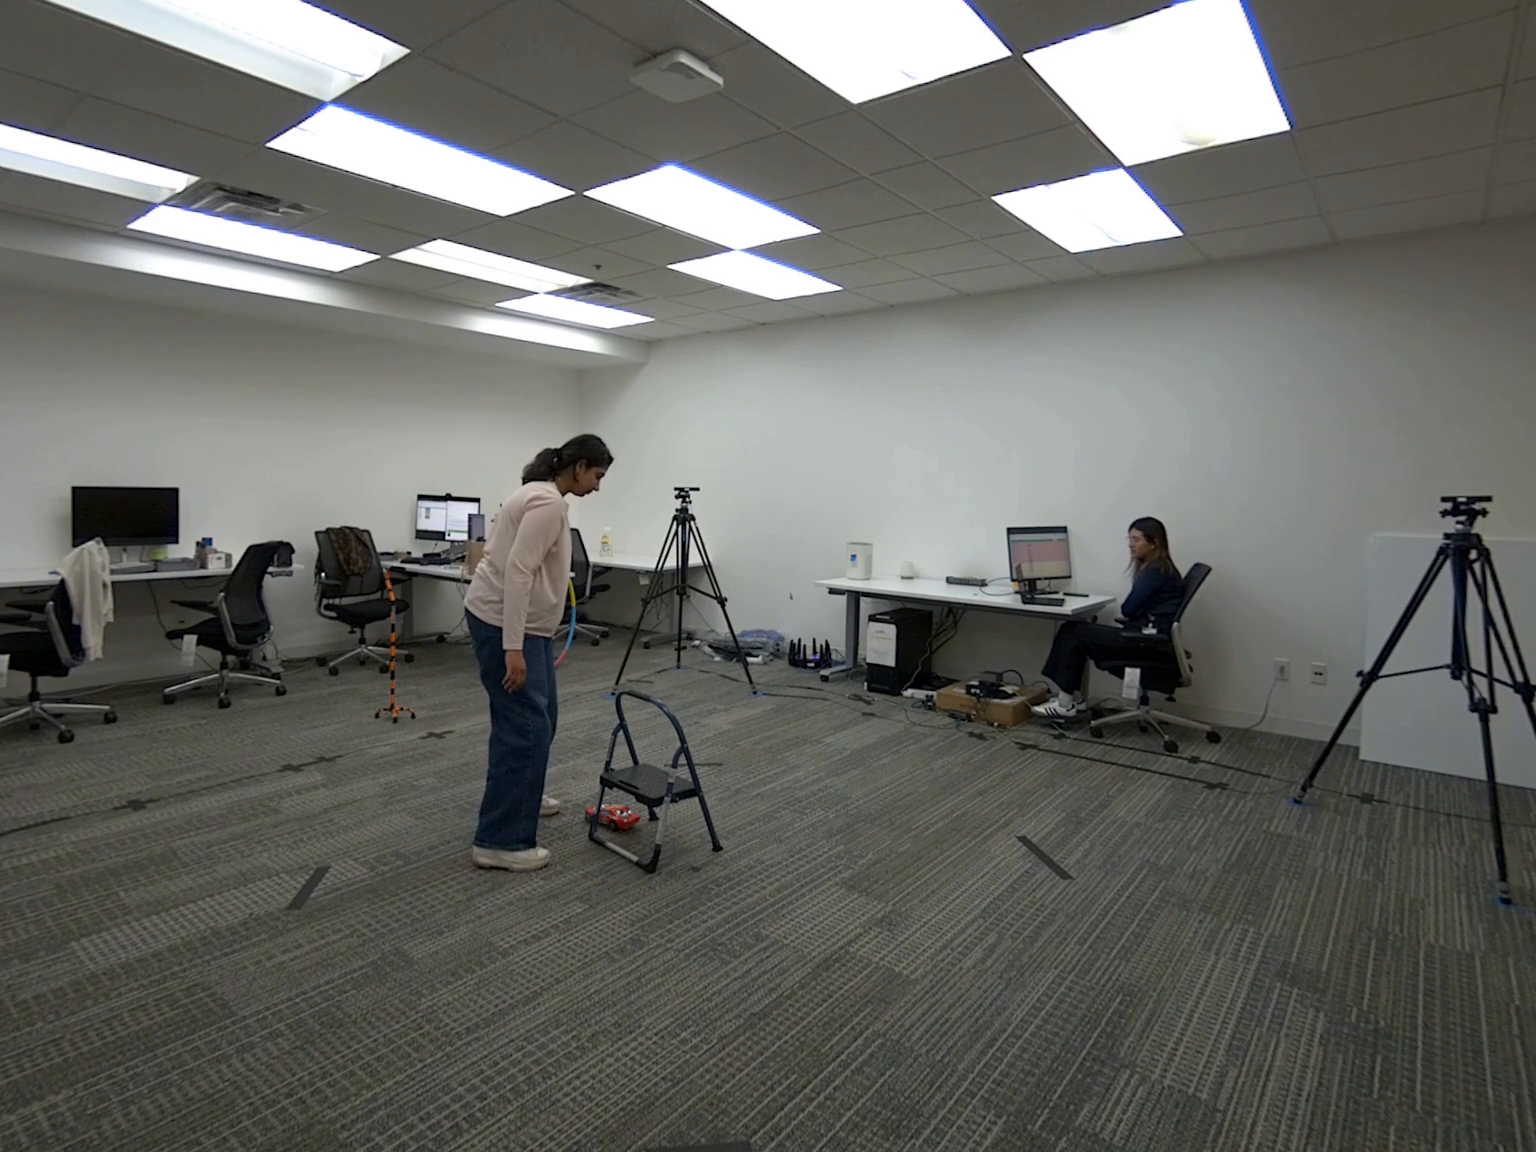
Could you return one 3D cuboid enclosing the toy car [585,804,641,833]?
[{"bbox_3d":[-0.648,0.991,3.504,0.261,0.083,0.126,-9,-2,37],"label":"toy car"}]
